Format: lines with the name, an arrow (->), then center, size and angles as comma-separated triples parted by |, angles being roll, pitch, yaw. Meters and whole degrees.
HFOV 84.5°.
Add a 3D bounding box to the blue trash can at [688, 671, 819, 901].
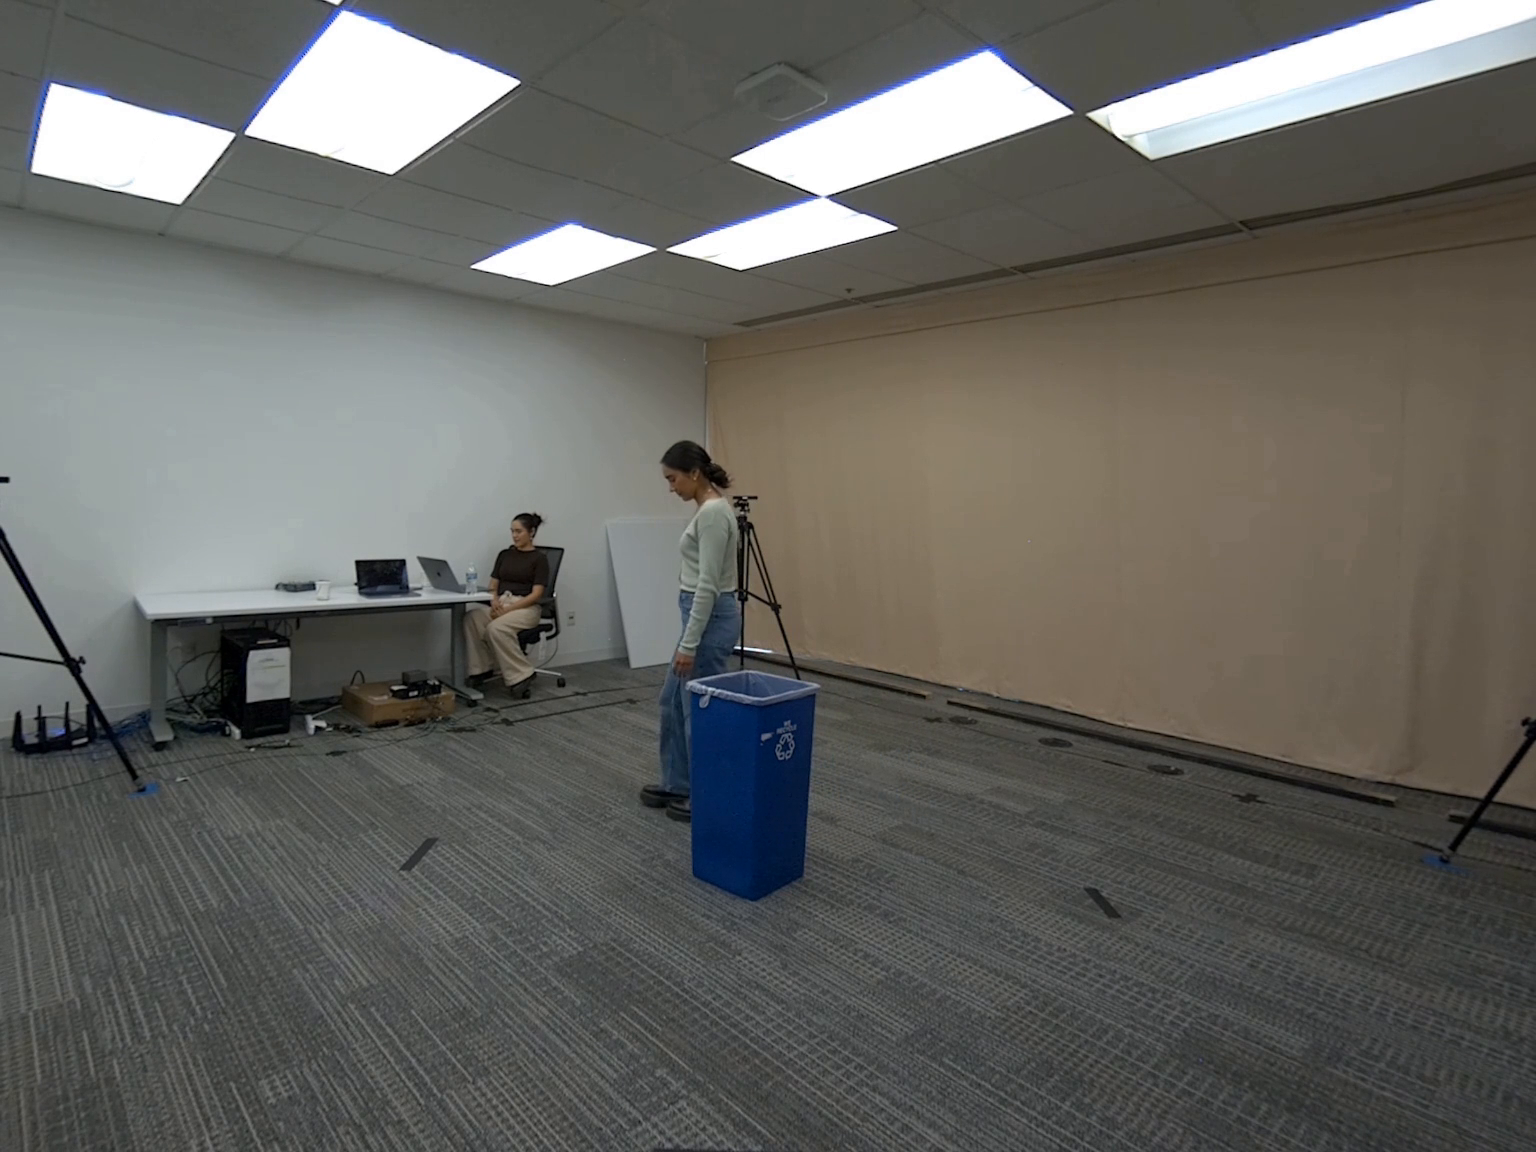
blue trash can -> -0.068, 0.746, 3.090 | 0.387, 0.712, 0.366 | 4, 5, 41
